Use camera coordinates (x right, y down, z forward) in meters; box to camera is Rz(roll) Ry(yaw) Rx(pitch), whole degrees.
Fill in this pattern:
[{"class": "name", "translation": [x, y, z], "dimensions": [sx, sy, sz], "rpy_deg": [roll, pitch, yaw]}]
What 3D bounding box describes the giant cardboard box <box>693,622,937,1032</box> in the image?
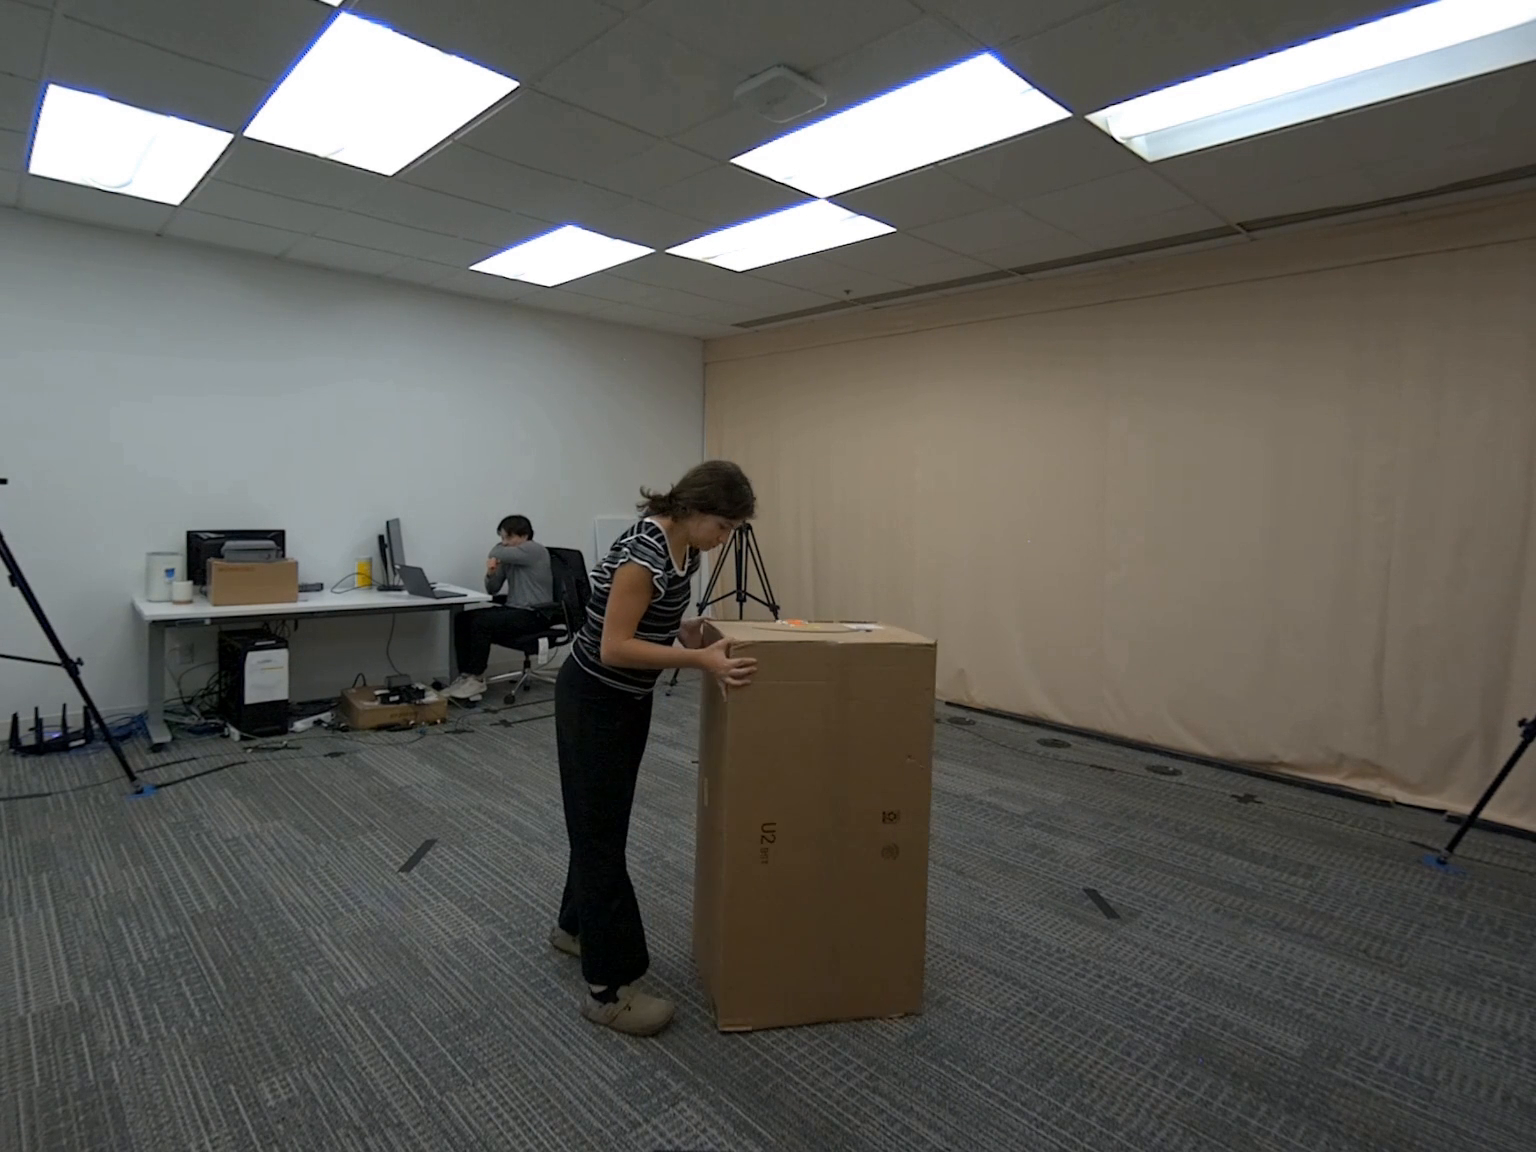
[{"class": "giant cardboard box", "translation": [0.110, 0.664, 2.430], "dimensions": [0.572, 1.024, 0.431], "rpy_deg": [1, 2, -12]}]
